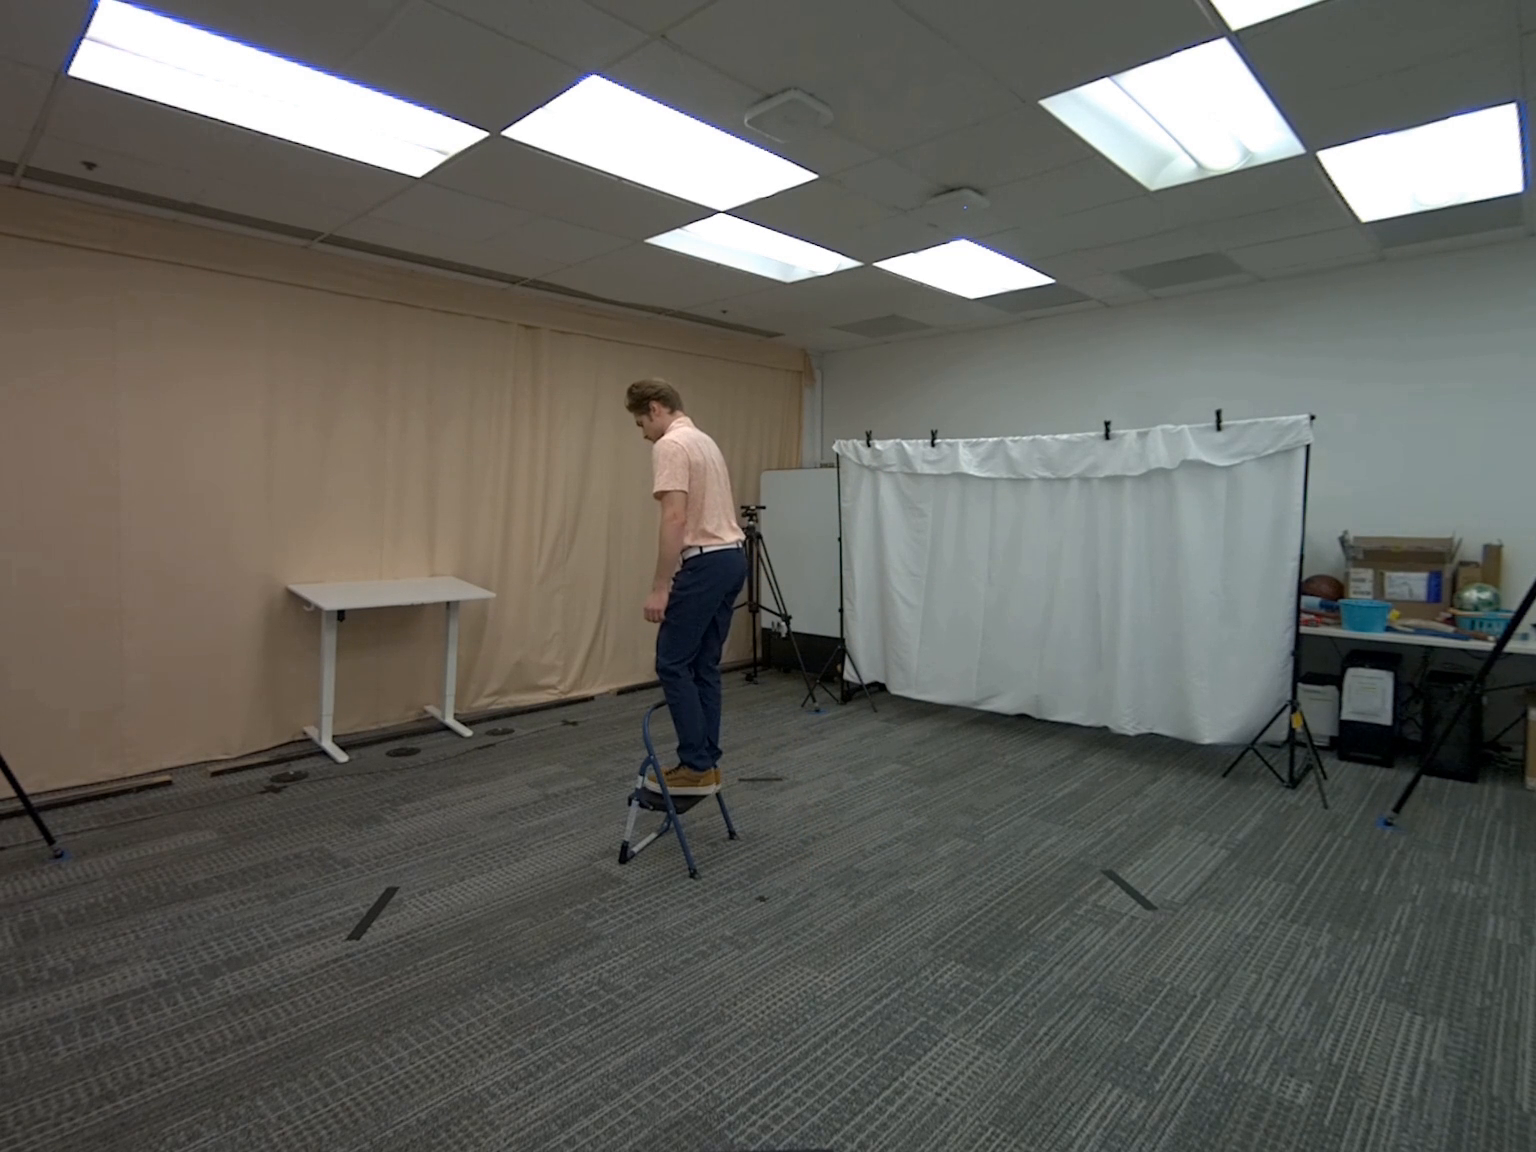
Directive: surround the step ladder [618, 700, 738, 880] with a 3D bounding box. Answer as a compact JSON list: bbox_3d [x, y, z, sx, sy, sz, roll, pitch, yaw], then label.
[{"bbox_3d":[-0.360,0.812,3.391,0.357,0.605,0.422,1,3,21],"label":"step ladder"}]
